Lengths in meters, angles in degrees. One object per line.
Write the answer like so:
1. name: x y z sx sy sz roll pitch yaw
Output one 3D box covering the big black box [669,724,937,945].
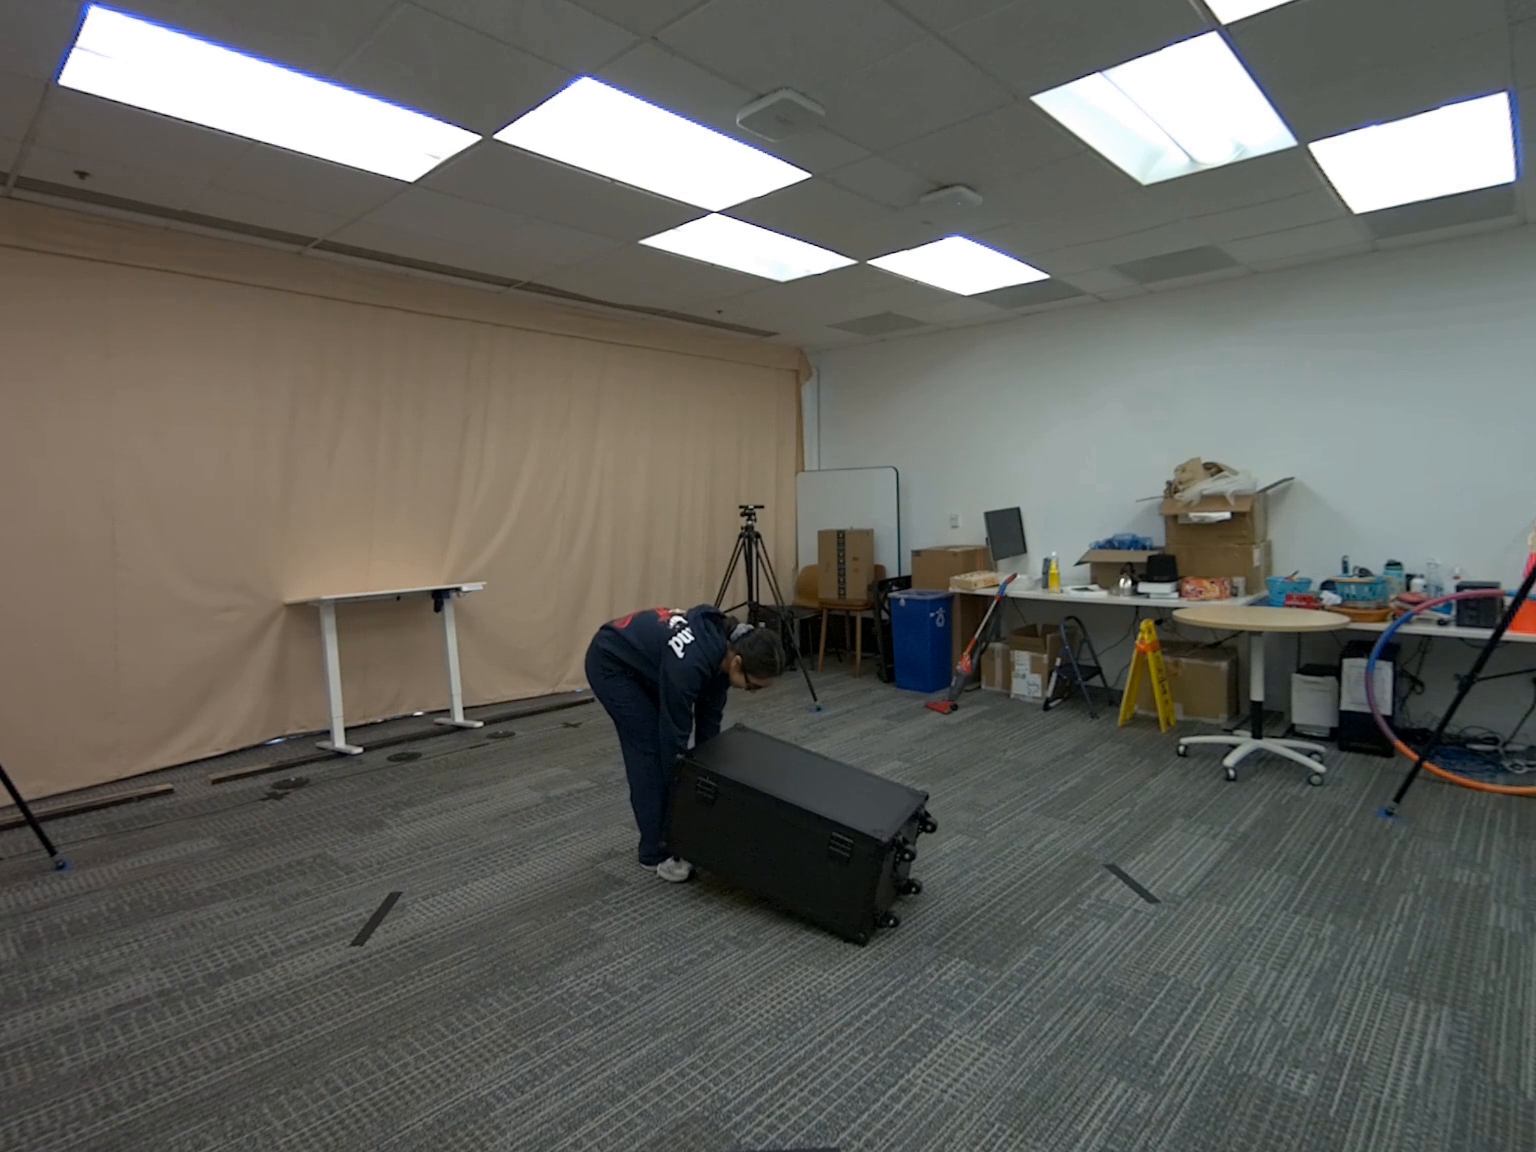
1. big black box: 0.123 0.893 2.975 0.886 0.395 0.508 14 9 26
